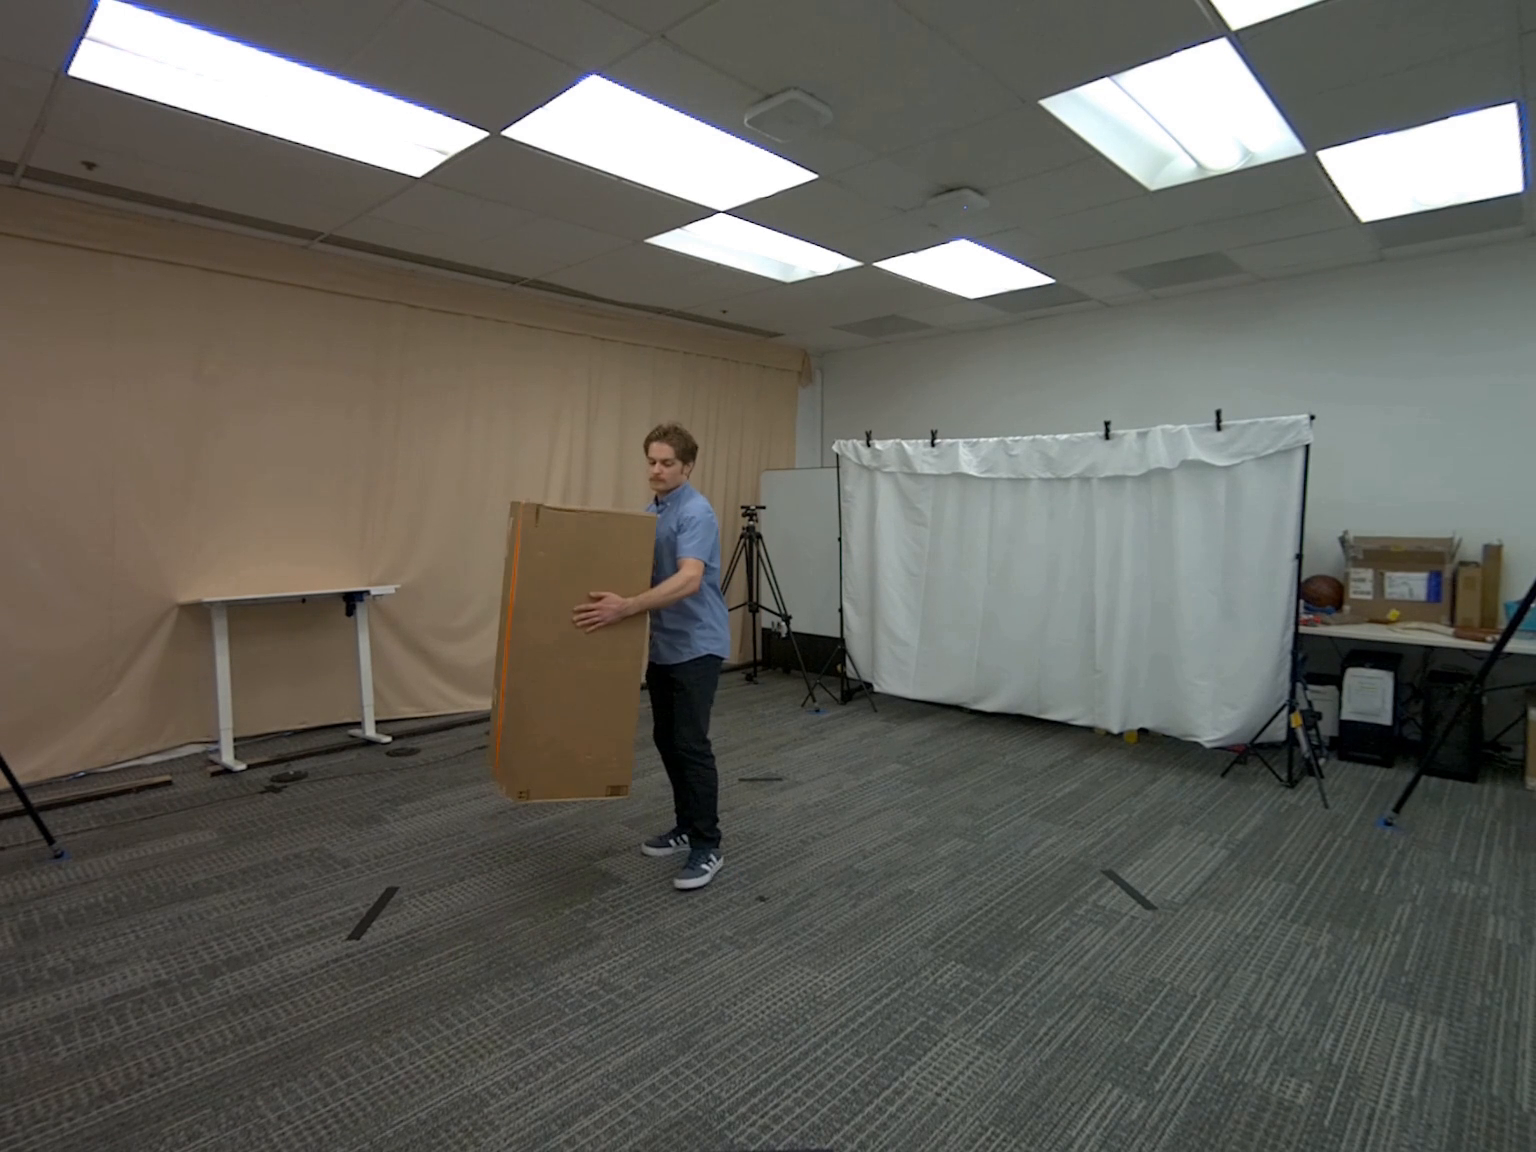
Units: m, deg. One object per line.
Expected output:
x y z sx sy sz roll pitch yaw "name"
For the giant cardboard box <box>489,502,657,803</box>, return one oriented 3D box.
-0.752 0.255 3.153 0.415 1.025 0.593 5 2 -25 "giant cardboard box"
